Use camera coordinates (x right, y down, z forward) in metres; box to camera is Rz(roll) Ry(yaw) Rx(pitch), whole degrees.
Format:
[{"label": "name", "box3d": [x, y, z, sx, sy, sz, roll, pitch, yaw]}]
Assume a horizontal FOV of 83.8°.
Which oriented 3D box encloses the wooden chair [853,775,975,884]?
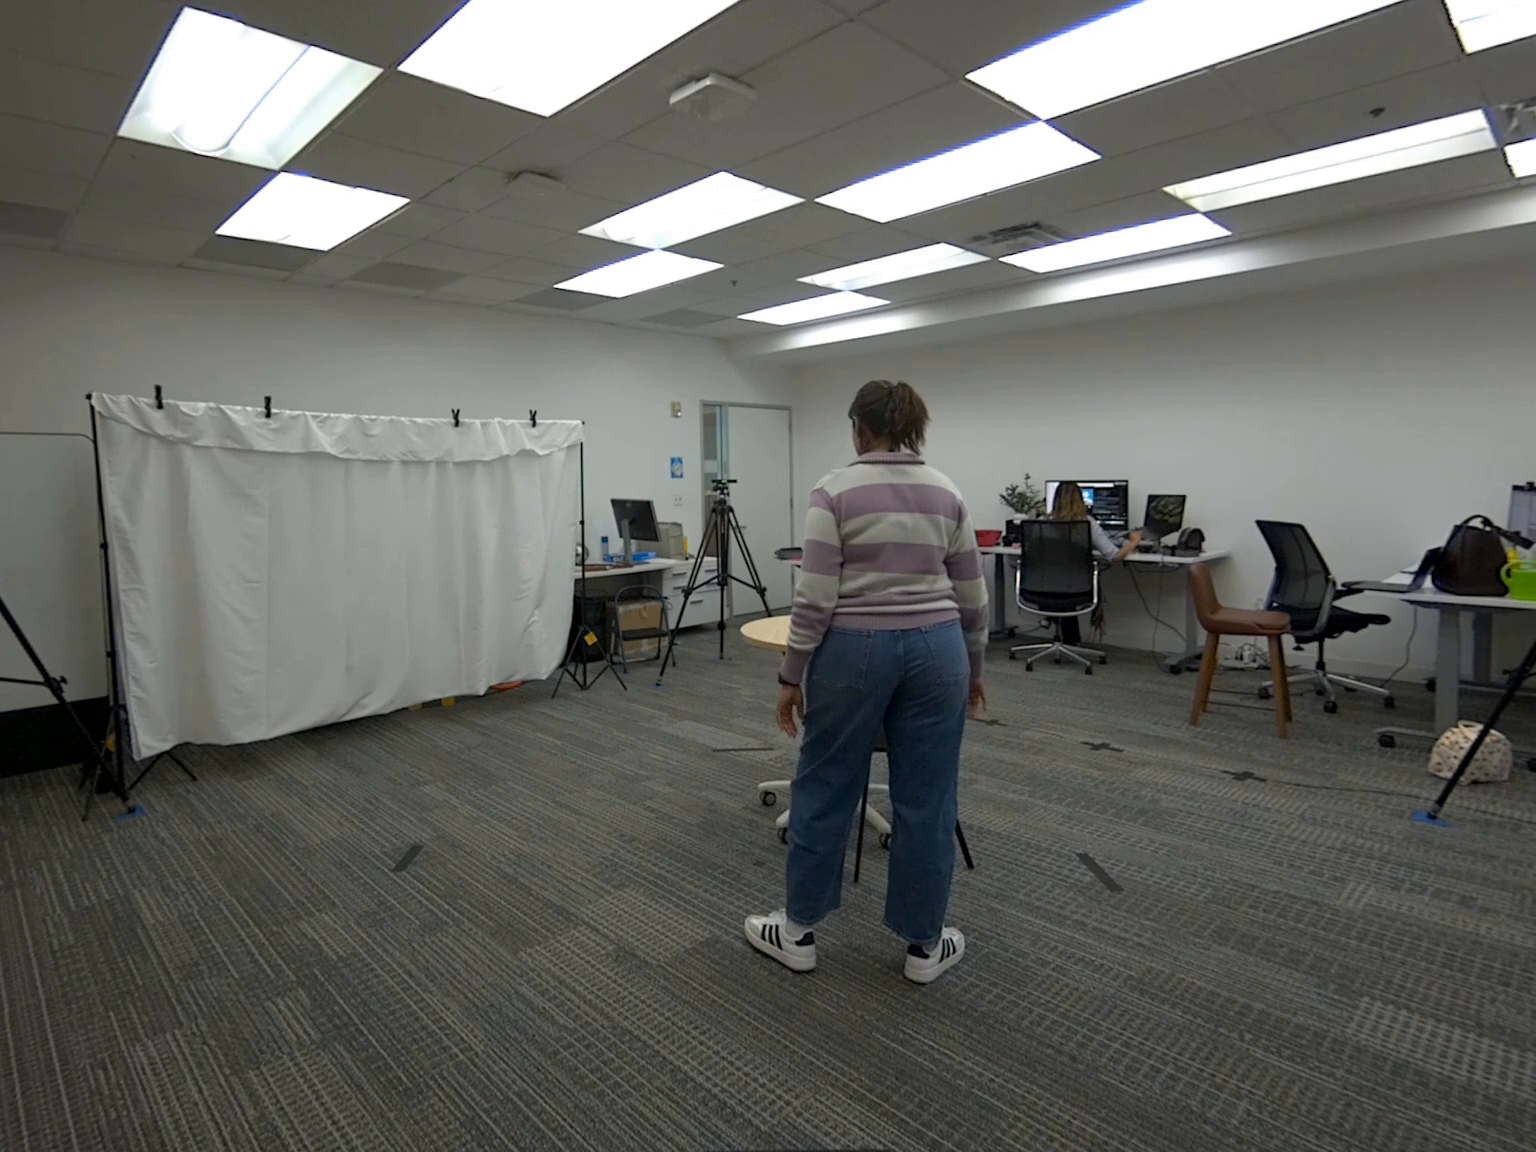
[{"label": "wooden chair", "box3d": [0.448, 0.602, 3.189, 0.472, 0.871, 0.534, -3, 9, -15]}]
